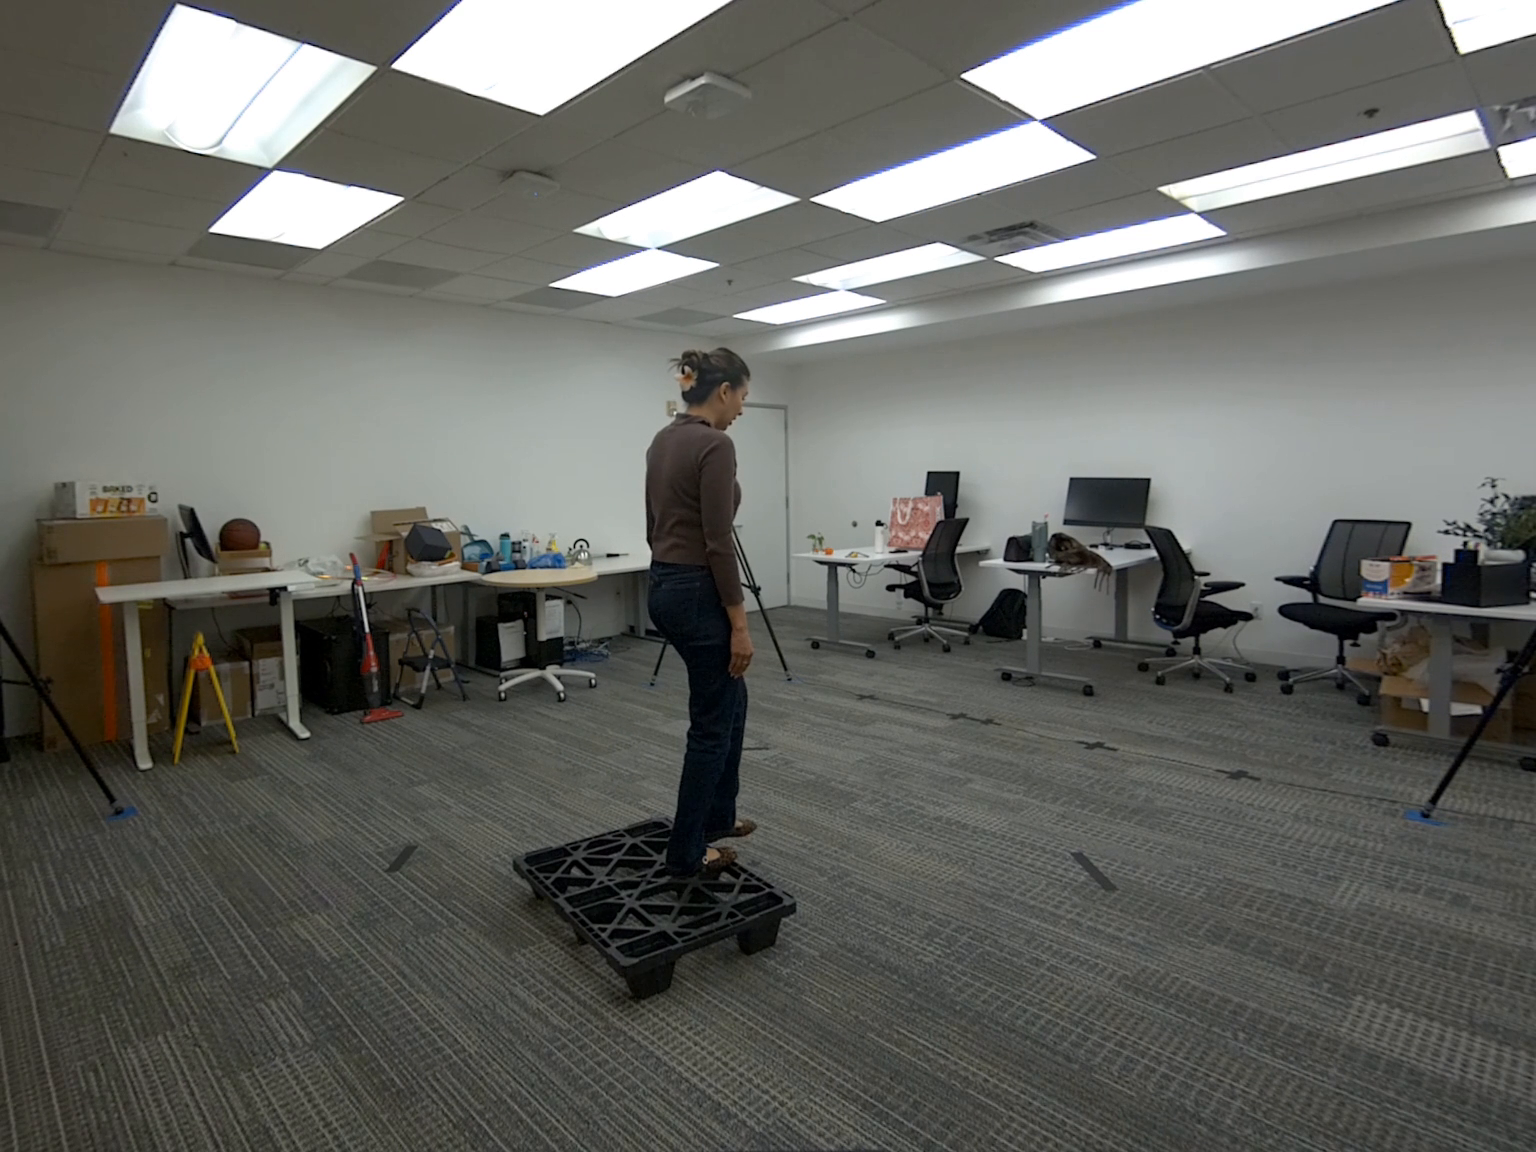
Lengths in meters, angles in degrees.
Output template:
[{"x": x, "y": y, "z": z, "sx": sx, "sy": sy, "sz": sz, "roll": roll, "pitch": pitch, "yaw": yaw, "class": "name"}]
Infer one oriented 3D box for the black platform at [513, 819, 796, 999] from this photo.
[{"x": -0.383, "y": 1.028, "z": 2.732, "sx": 0.590, "sy": 0.143, "sz": 0.830, "roll": -5, "pitch": 8, "yaw": -36, "class": "black platform"}]
